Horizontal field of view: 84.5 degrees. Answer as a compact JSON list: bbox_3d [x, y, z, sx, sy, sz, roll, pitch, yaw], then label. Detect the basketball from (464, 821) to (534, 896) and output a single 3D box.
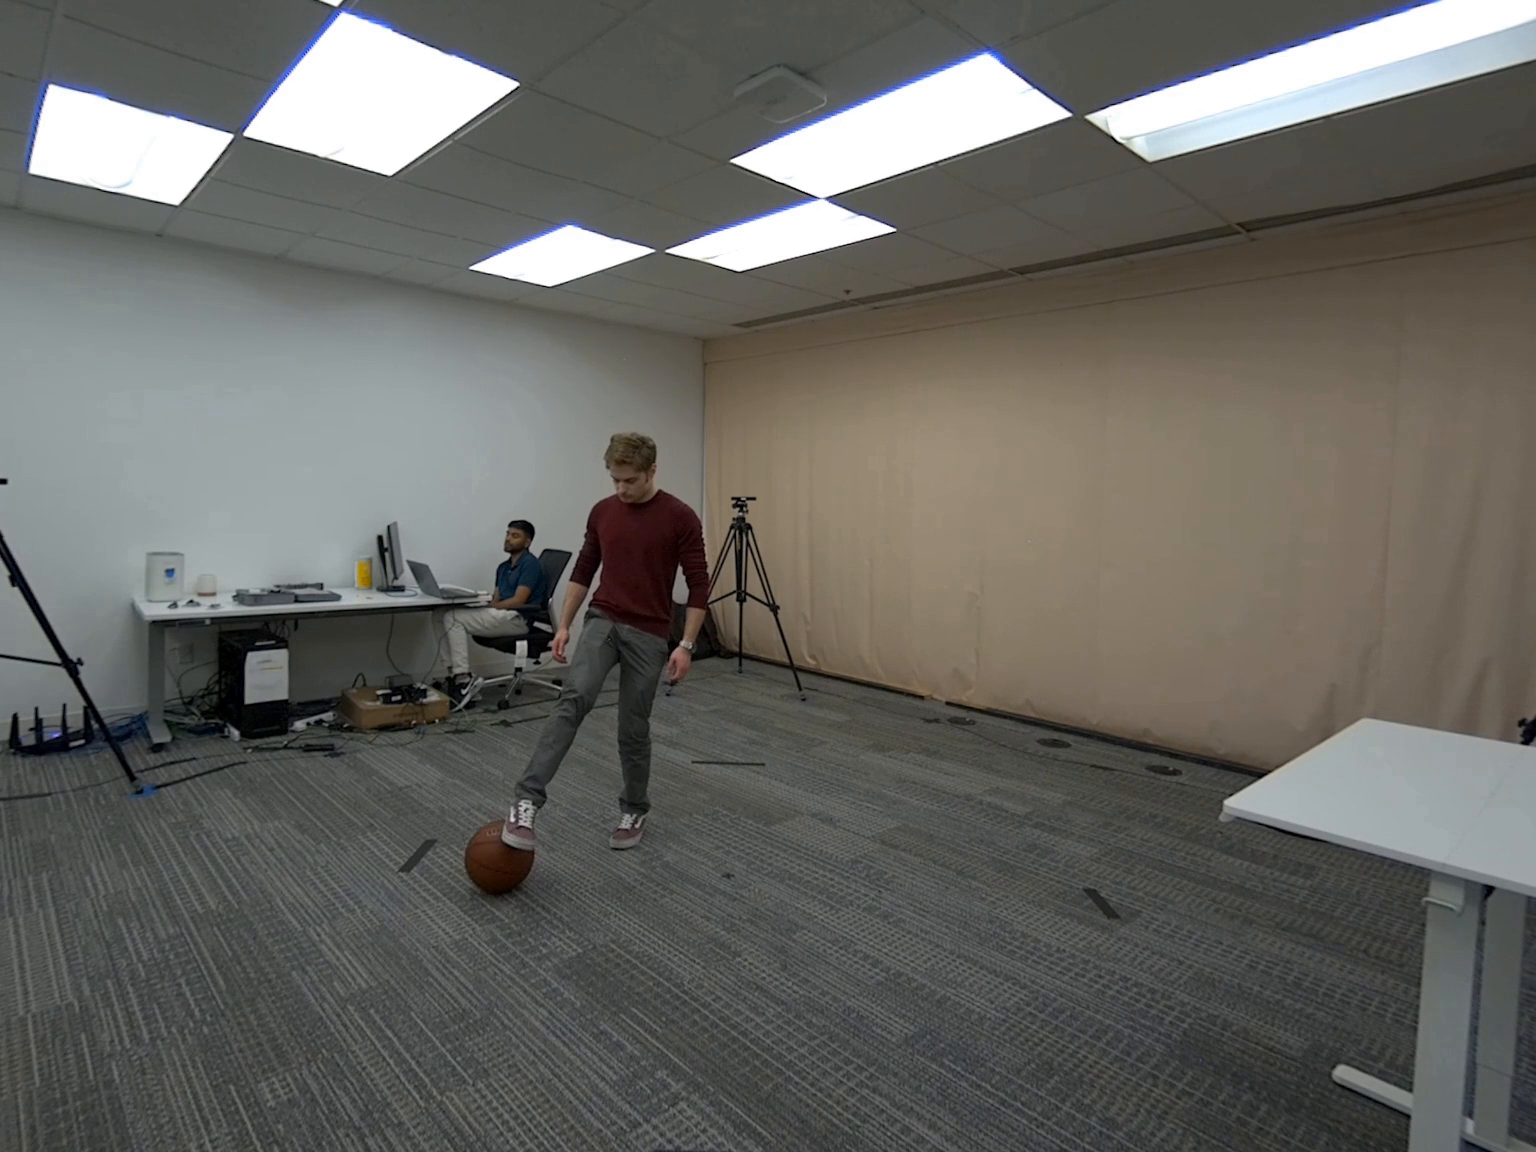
[{"bbox_3d":[-0.949,0.984,2.954,0.236,0.235,0.237,1,4,-1],"label":"basketball"}]
